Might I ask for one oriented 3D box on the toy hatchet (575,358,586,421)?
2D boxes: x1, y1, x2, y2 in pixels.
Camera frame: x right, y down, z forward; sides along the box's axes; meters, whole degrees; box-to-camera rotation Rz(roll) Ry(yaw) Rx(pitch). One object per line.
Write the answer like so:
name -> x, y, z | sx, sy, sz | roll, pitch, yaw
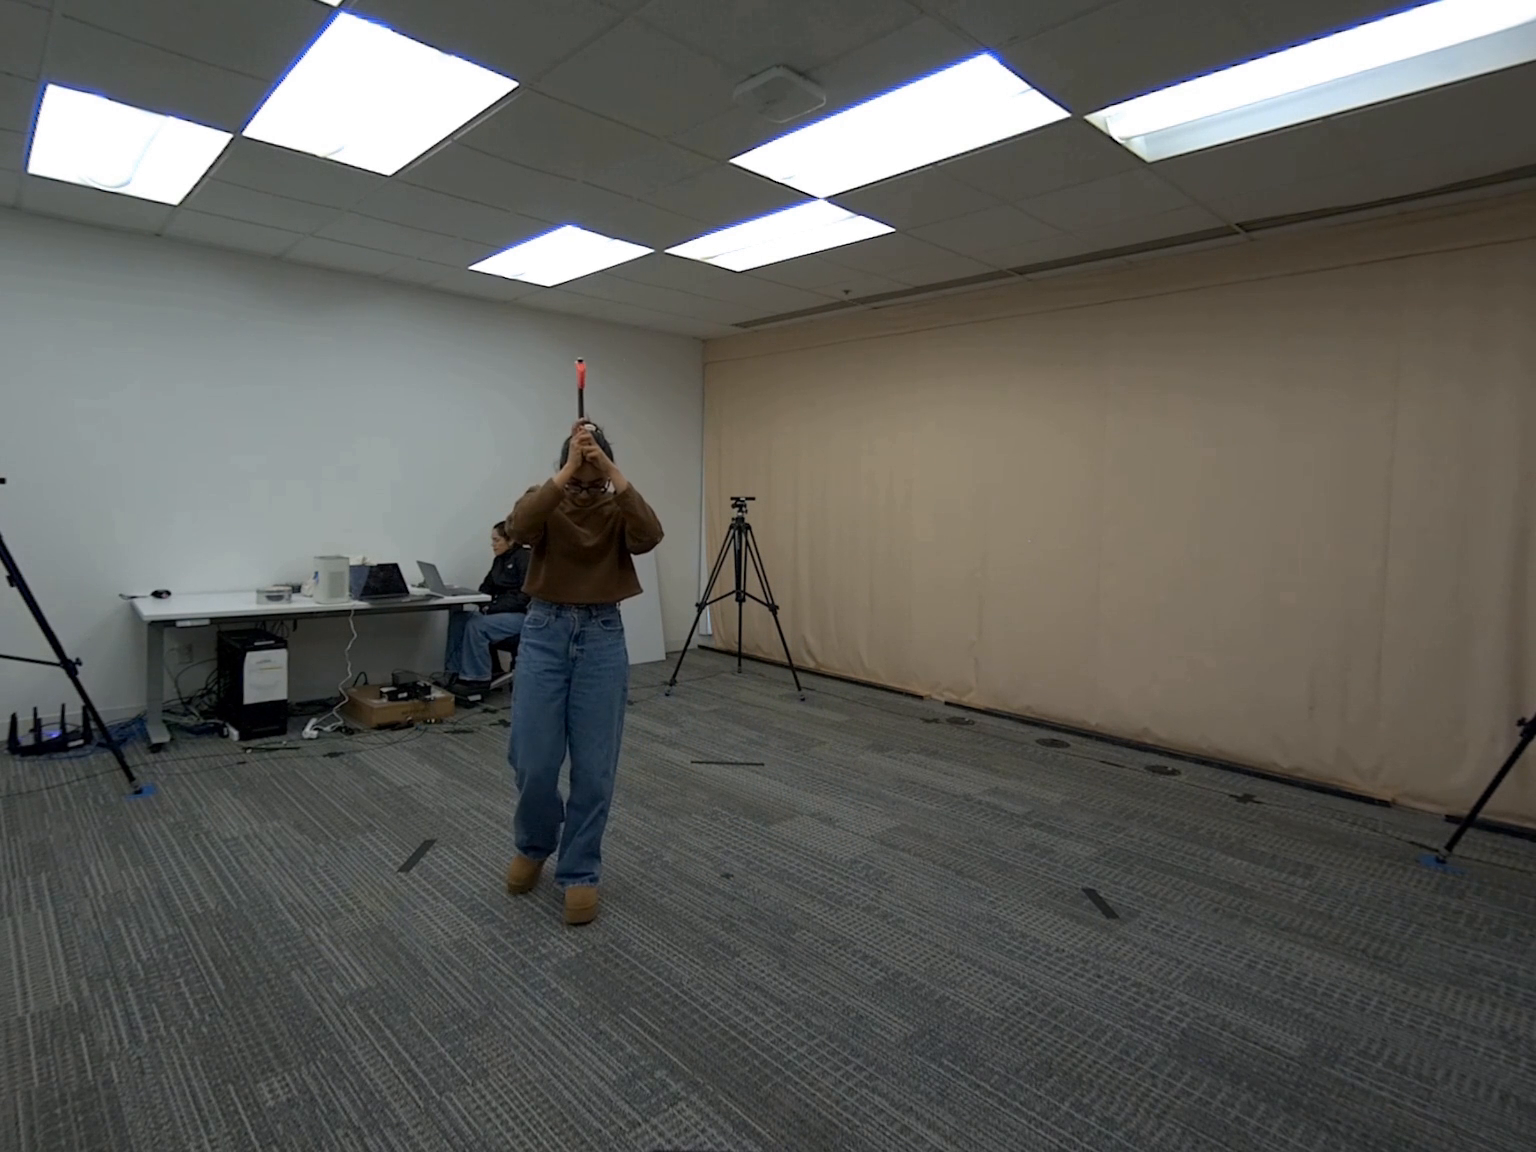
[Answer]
toy hatchet -> -0.577, -0.529, 2.558 | 0.029, 0.269, 0.132 | -2, 4, -13
